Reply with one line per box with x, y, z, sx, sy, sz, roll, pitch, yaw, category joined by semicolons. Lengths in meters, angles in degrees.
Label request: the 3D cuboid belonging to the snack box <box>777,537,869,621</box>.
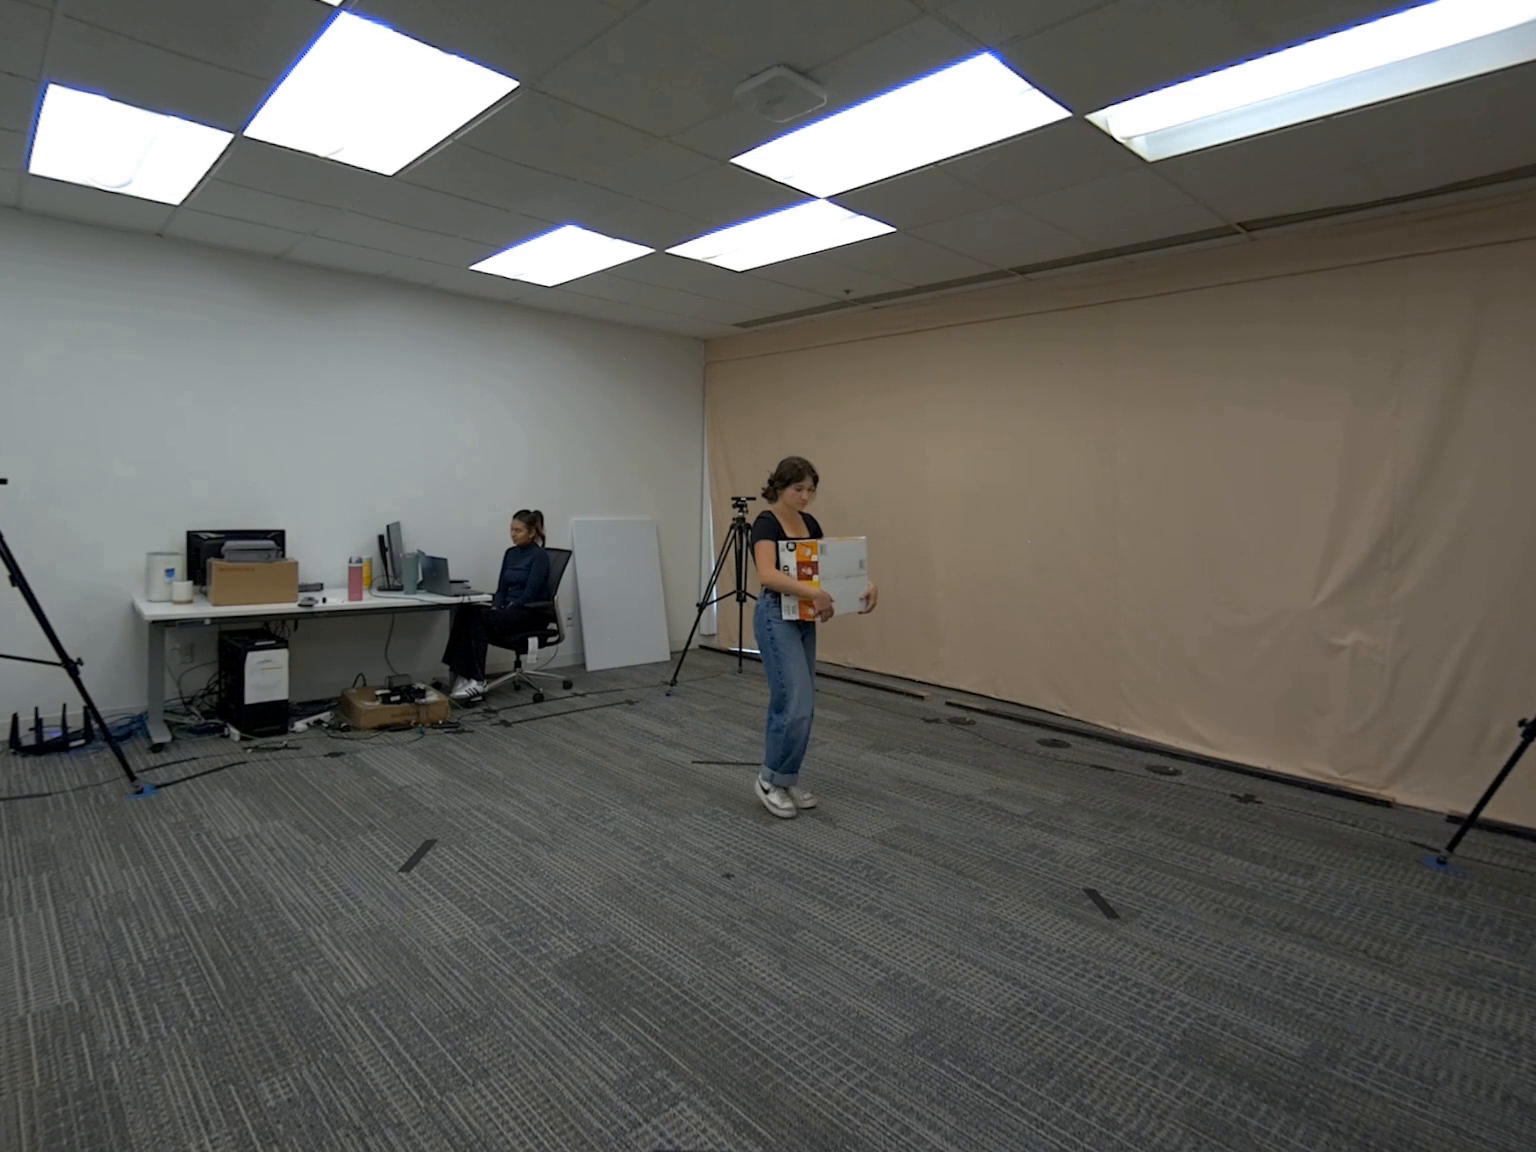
0.241;0.002;3.736;0.210;0.340;0.396;0;4;38;snack box
